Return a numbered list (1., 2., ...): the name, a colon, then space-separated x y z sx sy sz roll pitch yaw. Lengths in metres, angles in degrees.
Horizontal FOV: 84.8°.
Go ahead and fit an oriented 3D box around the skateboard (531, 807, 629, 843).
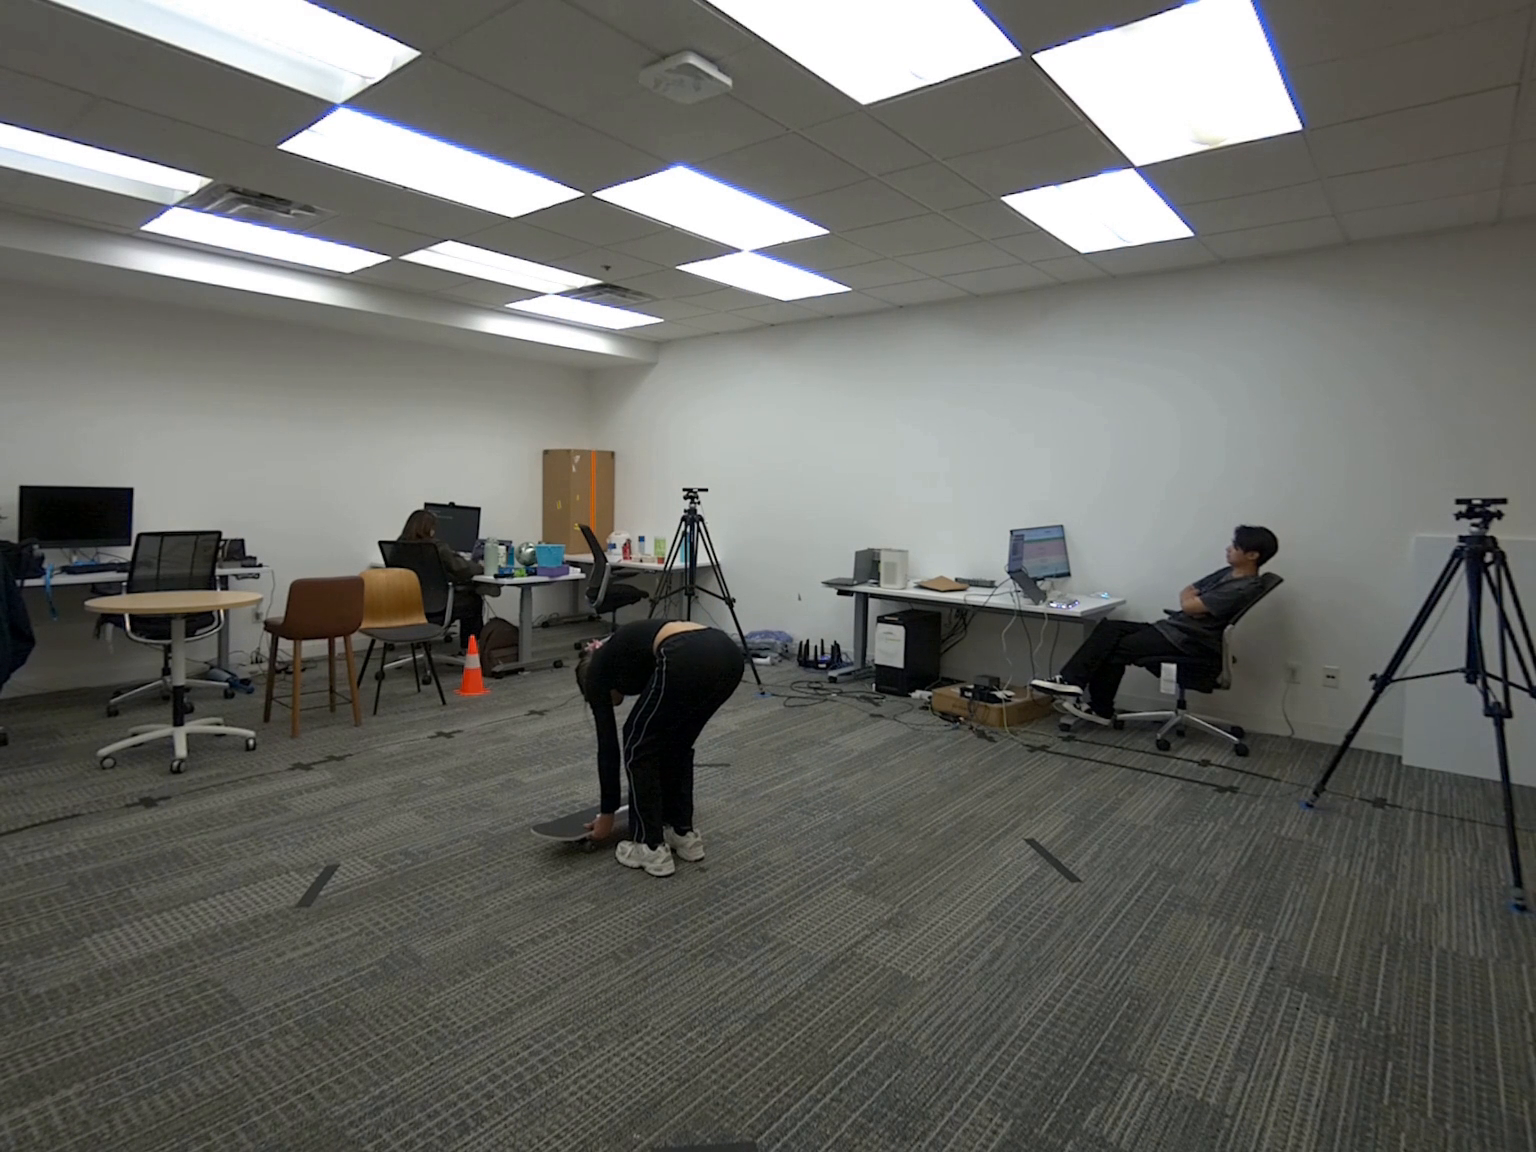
1. skateboard: -0.624 0.978 3.439 0.200 0.110 0.762 5 6 41
